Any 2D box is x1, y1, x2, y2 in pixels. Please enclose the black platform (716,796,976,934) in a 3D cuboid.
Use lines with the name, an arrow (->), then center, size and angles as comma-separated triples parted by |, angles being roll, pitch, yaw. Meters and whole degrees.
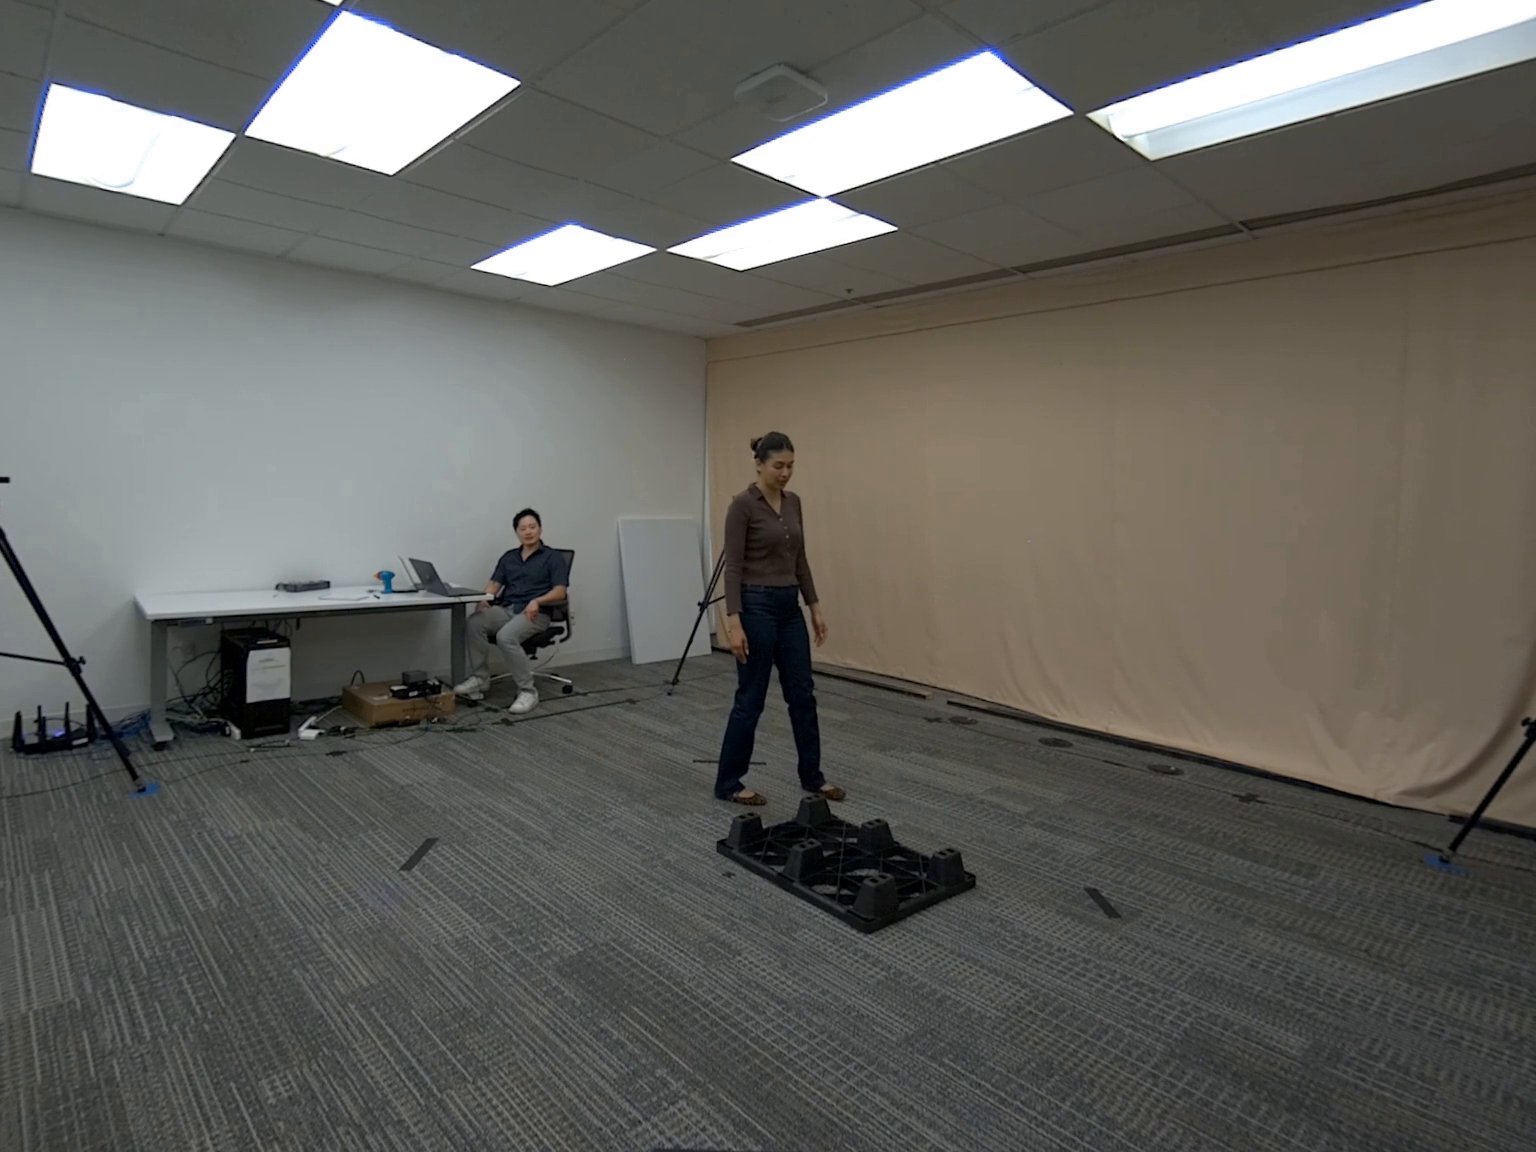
black platform -> 0.266, 1.040, 3.182 | 0.591, 0.143, 0.826 | -2, 6, -41
